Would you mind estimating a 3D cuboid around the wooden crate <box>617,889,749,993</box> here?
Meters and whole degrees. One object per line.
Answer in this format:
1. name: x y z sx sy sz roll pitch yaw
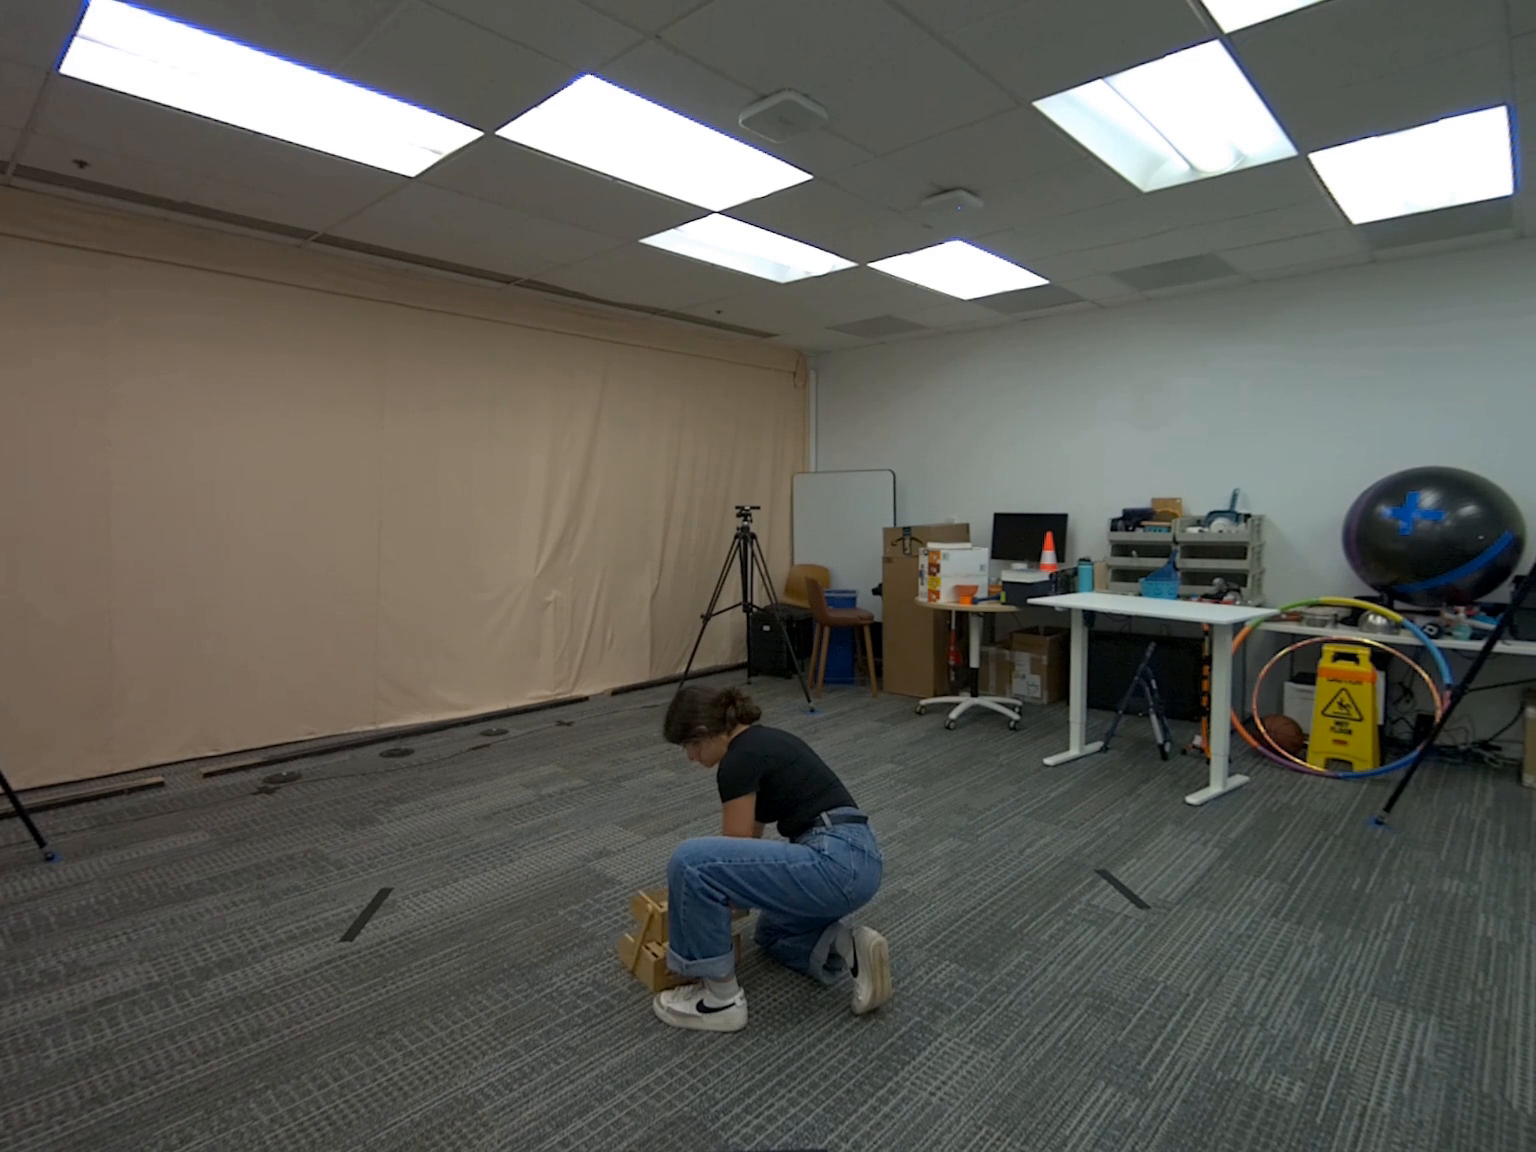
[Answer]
1. wooden crate: -0.265 1.048 2.563 0.315 0.273 0.311 -3 5 -34
